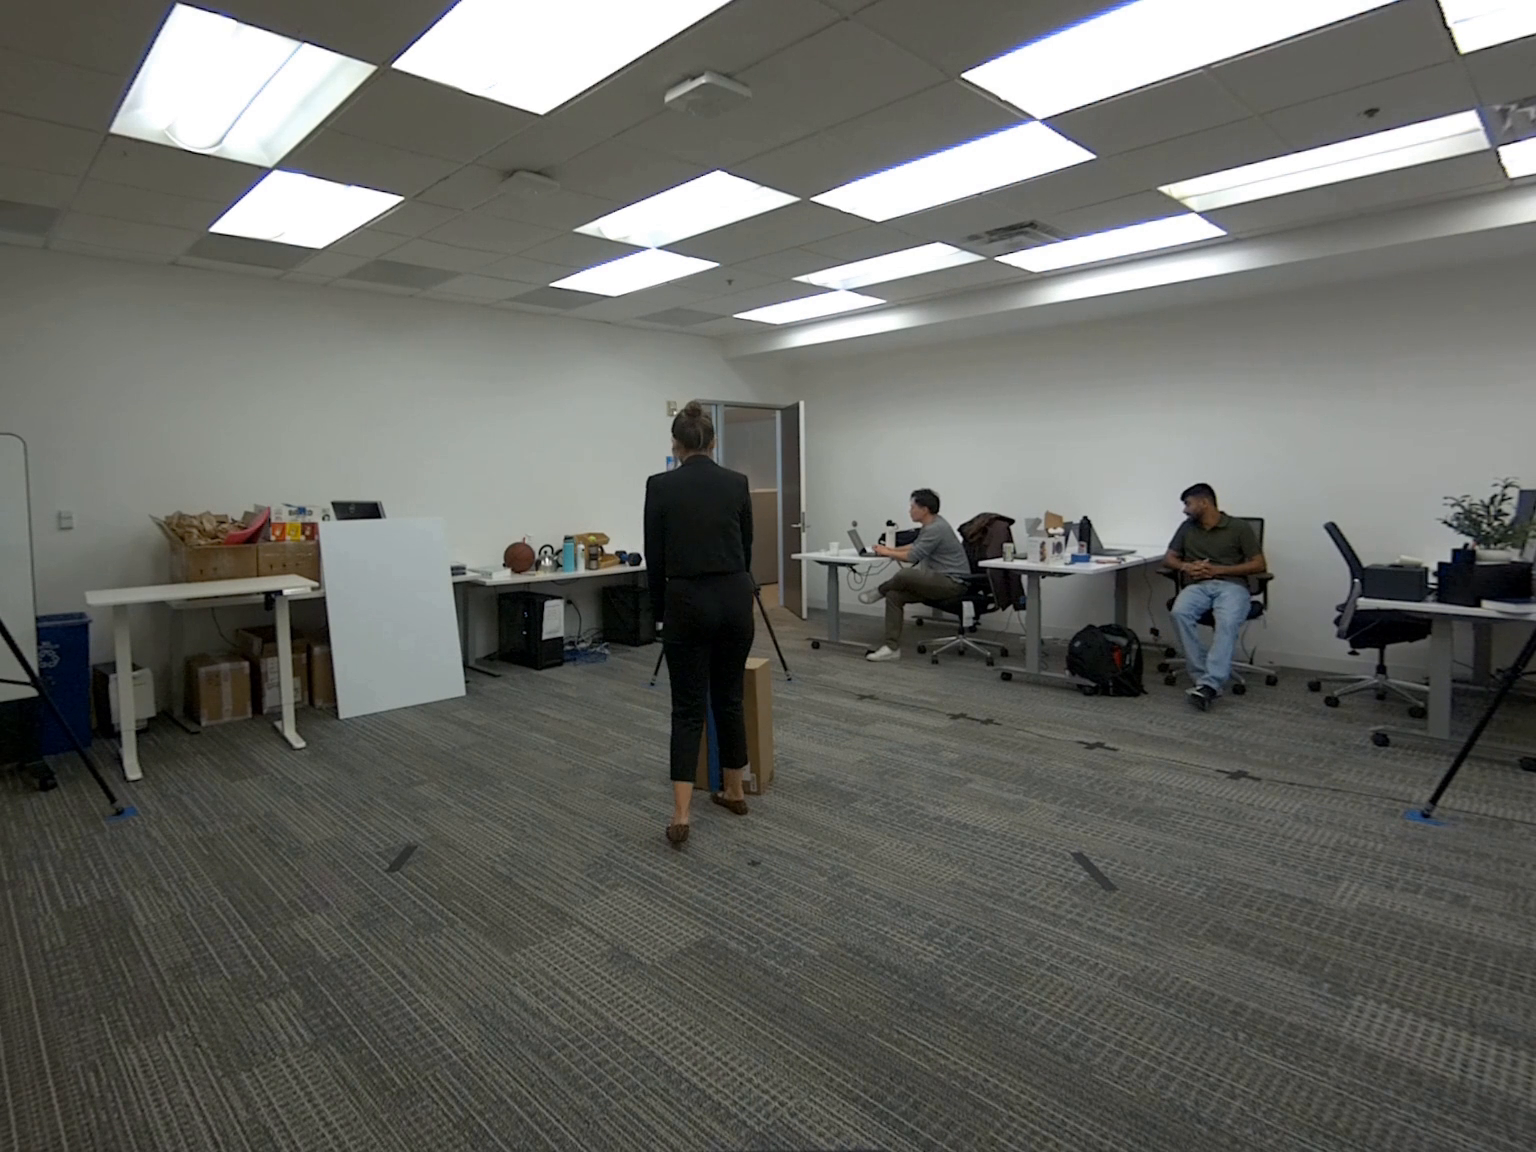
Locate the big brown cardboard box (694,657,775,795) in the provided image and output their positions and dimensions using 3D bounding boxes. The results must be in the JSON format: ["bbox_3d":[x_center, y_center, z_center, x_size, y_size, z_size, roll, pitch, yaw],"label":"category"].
[{"bbox_3d":[-0.212,0.678,3.931,0.425,0.588,0.229,-1,2,19],"label":"big brown cardboard box"}]
